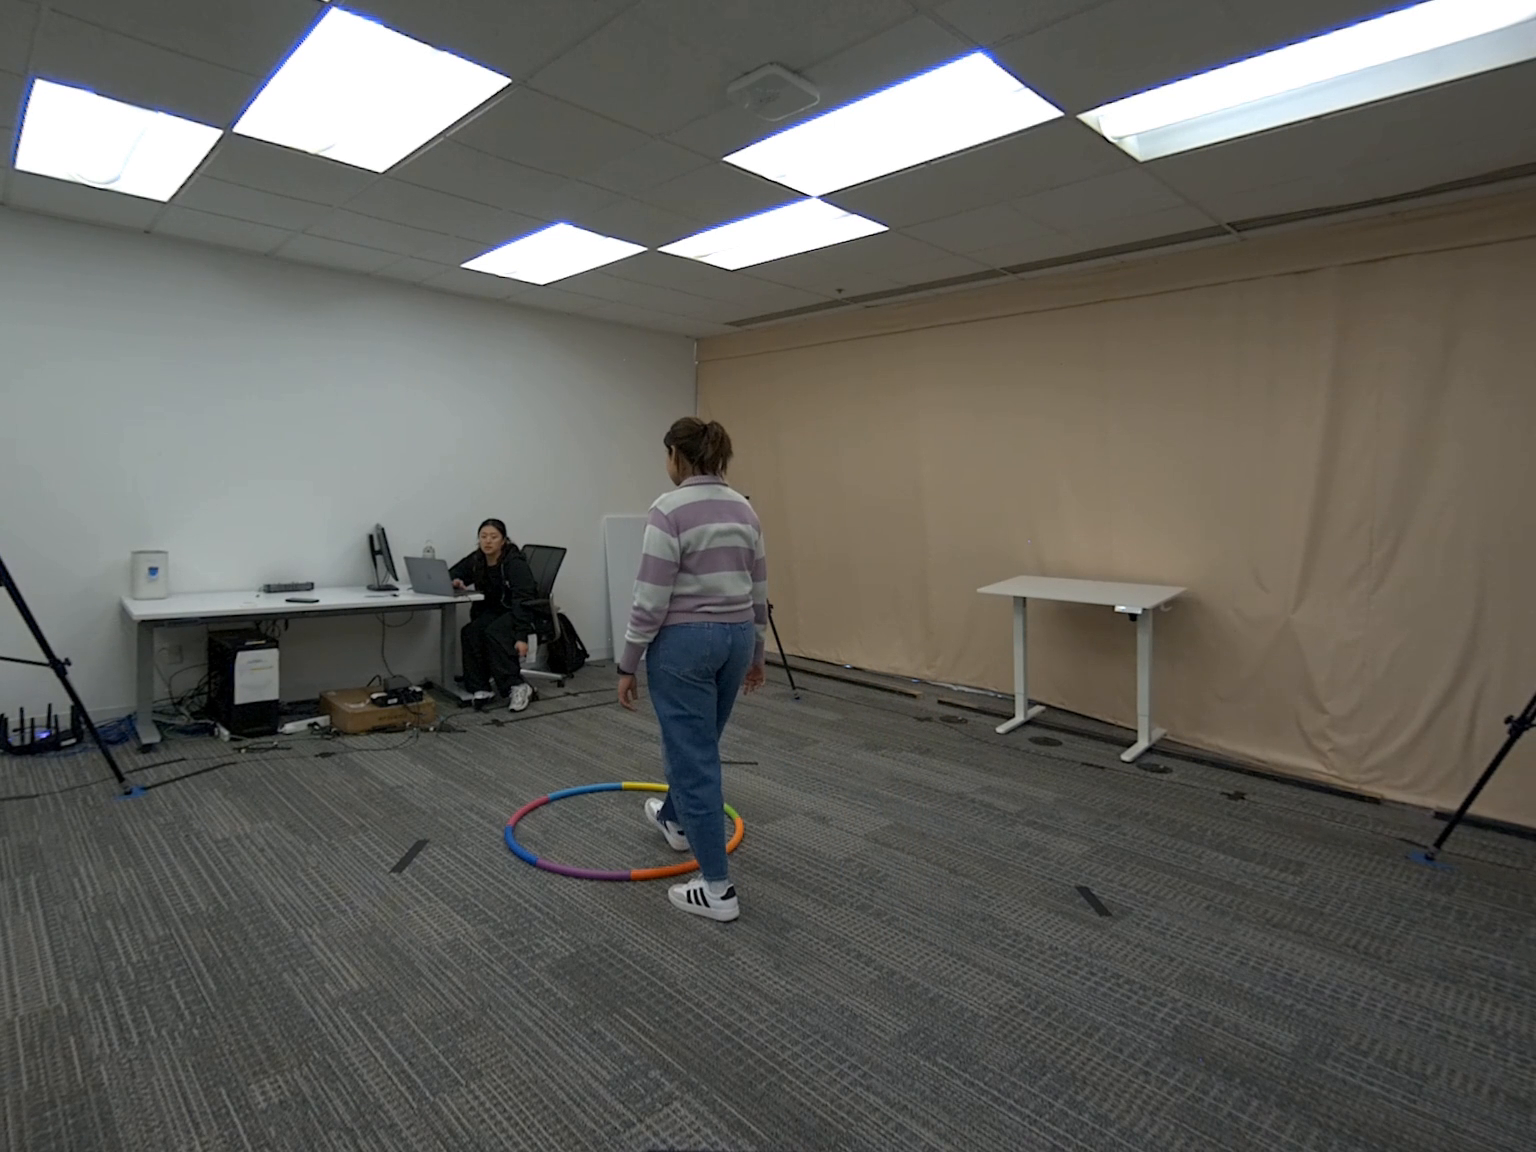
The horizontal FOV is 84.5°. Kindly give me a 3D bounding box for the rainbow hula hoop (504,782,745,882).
[{"bbox_3d":[-0.600,1.029,3.517,0.978,0.035,0.982,2,5,-1],"label":"rainbow hula hoop"}]
